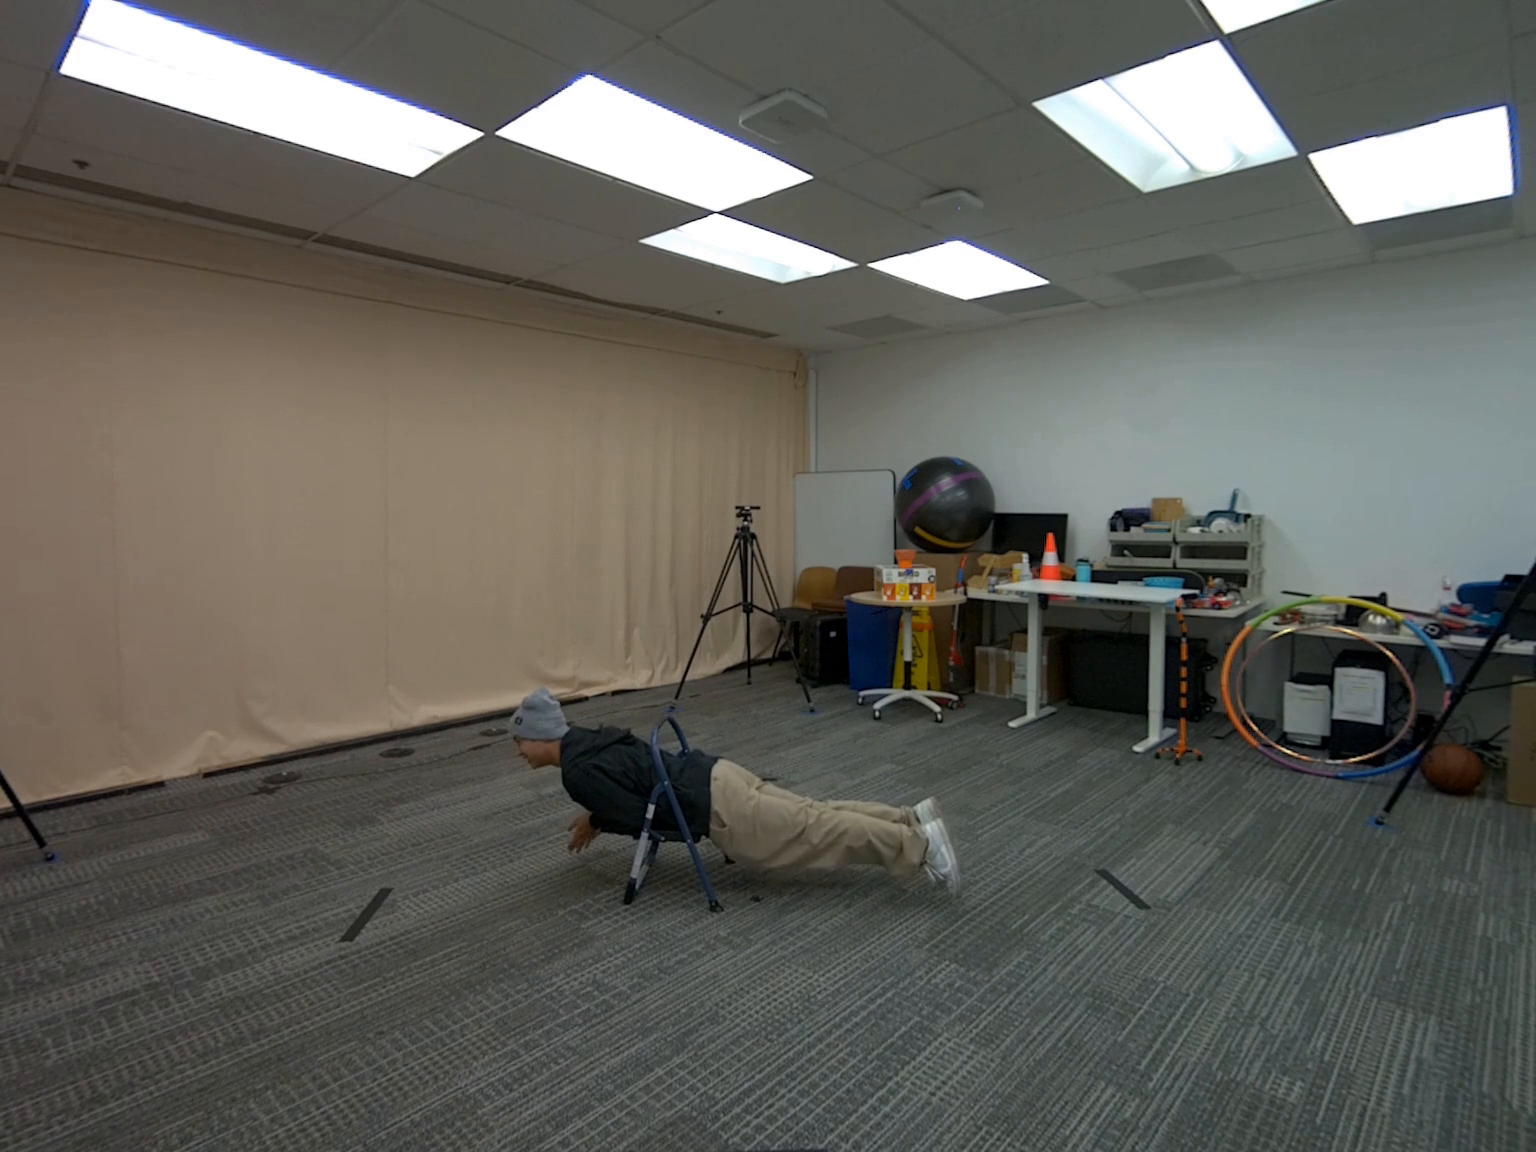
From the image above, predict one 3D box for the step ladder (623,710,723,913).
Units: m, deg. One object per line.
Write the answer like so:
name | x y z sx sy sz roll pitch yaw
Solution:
step ladder | -0.319 0.846 3.100 0.352 0.605 0.428 0 4 6
